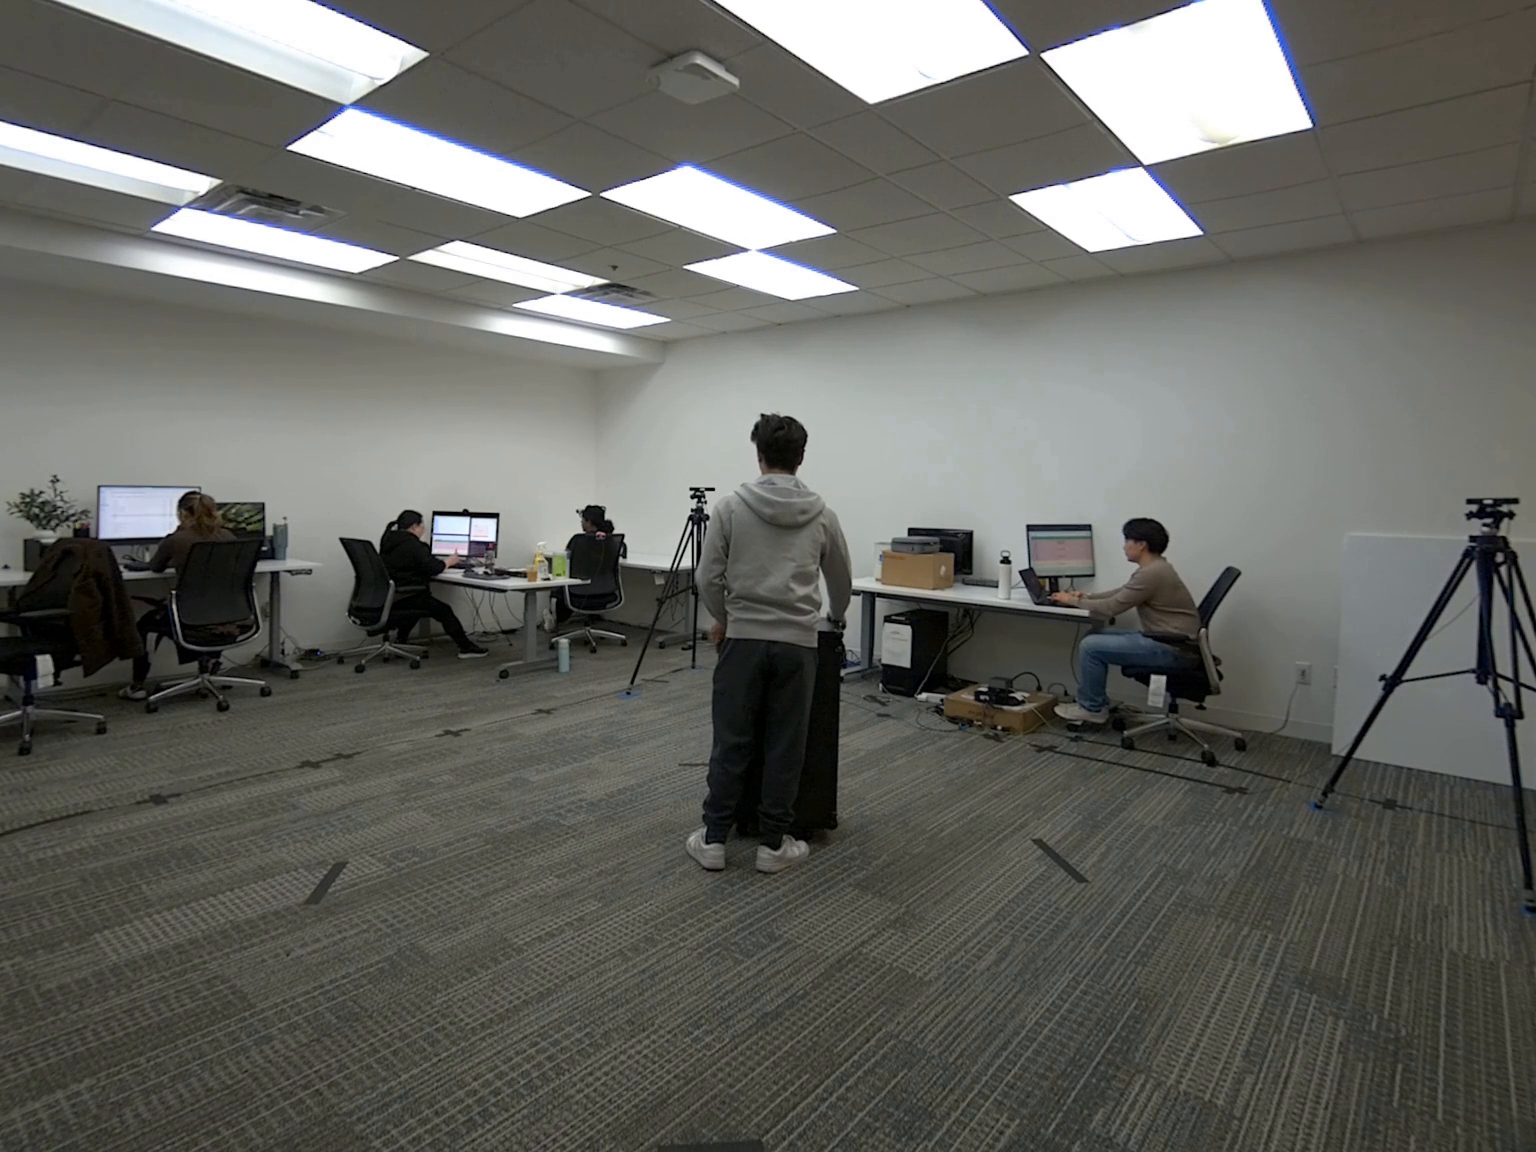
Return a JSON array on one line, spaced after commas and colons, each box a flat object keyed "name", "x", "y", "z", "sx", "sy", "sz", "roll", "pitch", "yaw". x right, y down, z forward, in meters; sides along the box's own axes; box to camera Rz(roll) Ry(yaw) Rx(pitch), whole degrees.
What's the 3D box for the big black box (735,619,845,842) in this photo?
[{"name": "big black box", "x": 0.038, "y": 0.608, "z": 3.489, "sx": 0.524, "sy": 0.858, "sz": 0.396, "roll": 2, "pitch": 5, "yaw": 4}]
